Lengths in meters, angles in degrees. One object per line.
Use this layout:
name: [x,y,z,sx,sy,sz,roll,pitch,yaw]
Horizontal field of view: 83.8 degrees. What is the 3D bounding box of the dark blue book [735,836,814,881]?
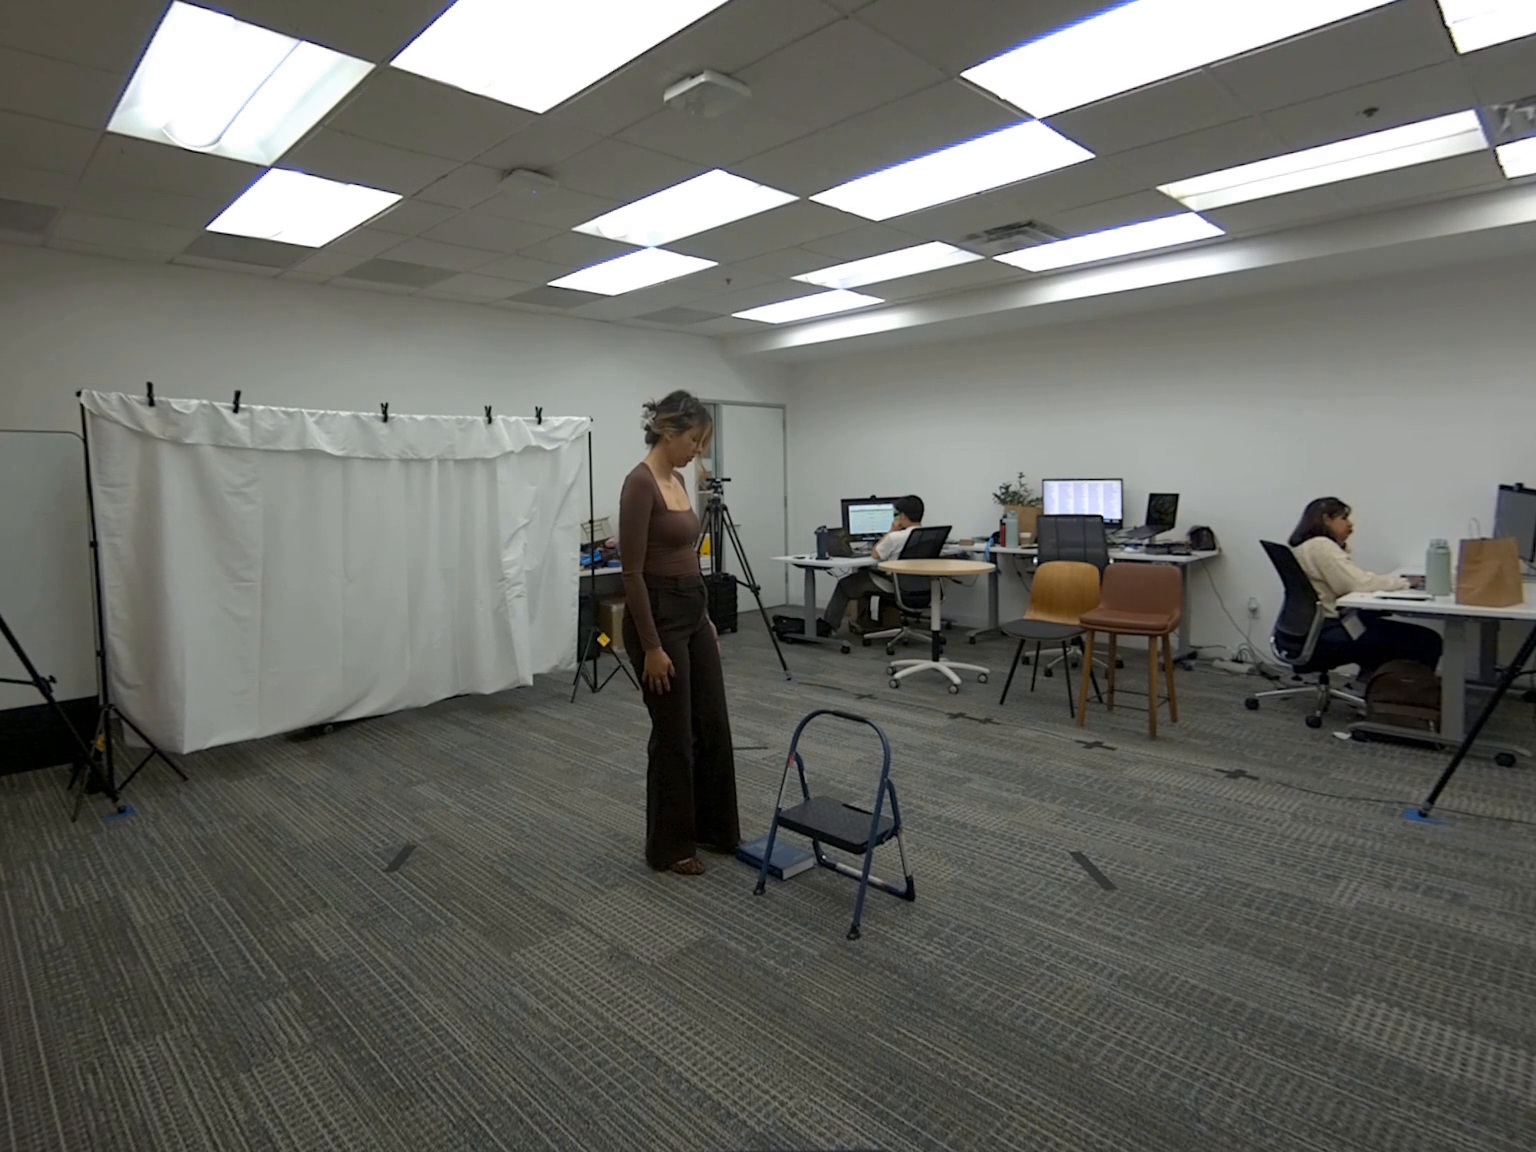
dark blue book: [0.024,1.012,3.095,0.159,0.045,0.253,-7,8,-42]
